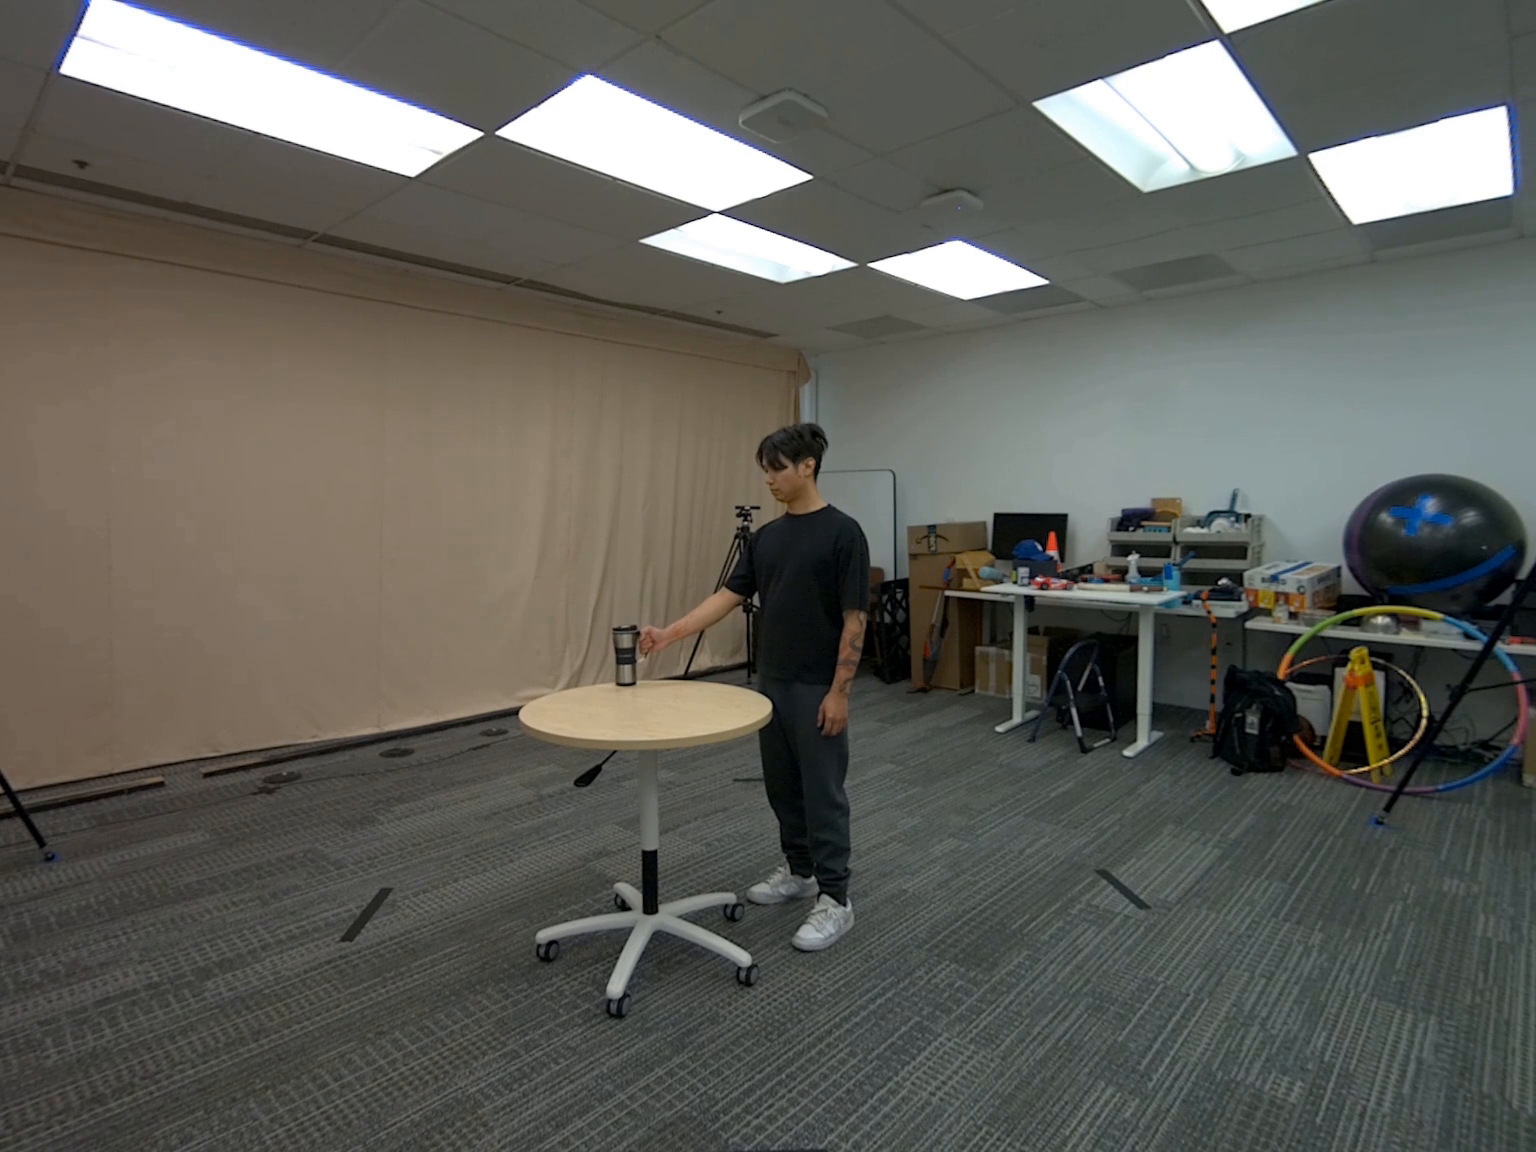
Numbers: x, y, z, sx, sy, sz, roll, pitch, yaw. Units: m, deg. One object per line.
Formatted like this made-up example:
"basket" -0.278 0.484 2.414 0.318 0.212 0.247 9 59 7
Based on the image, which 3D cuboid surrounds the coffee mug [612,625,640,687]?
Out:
"coffee mug" -0.475 0.278 2.879 0.126 0.203 0.085 -1 -2 39
